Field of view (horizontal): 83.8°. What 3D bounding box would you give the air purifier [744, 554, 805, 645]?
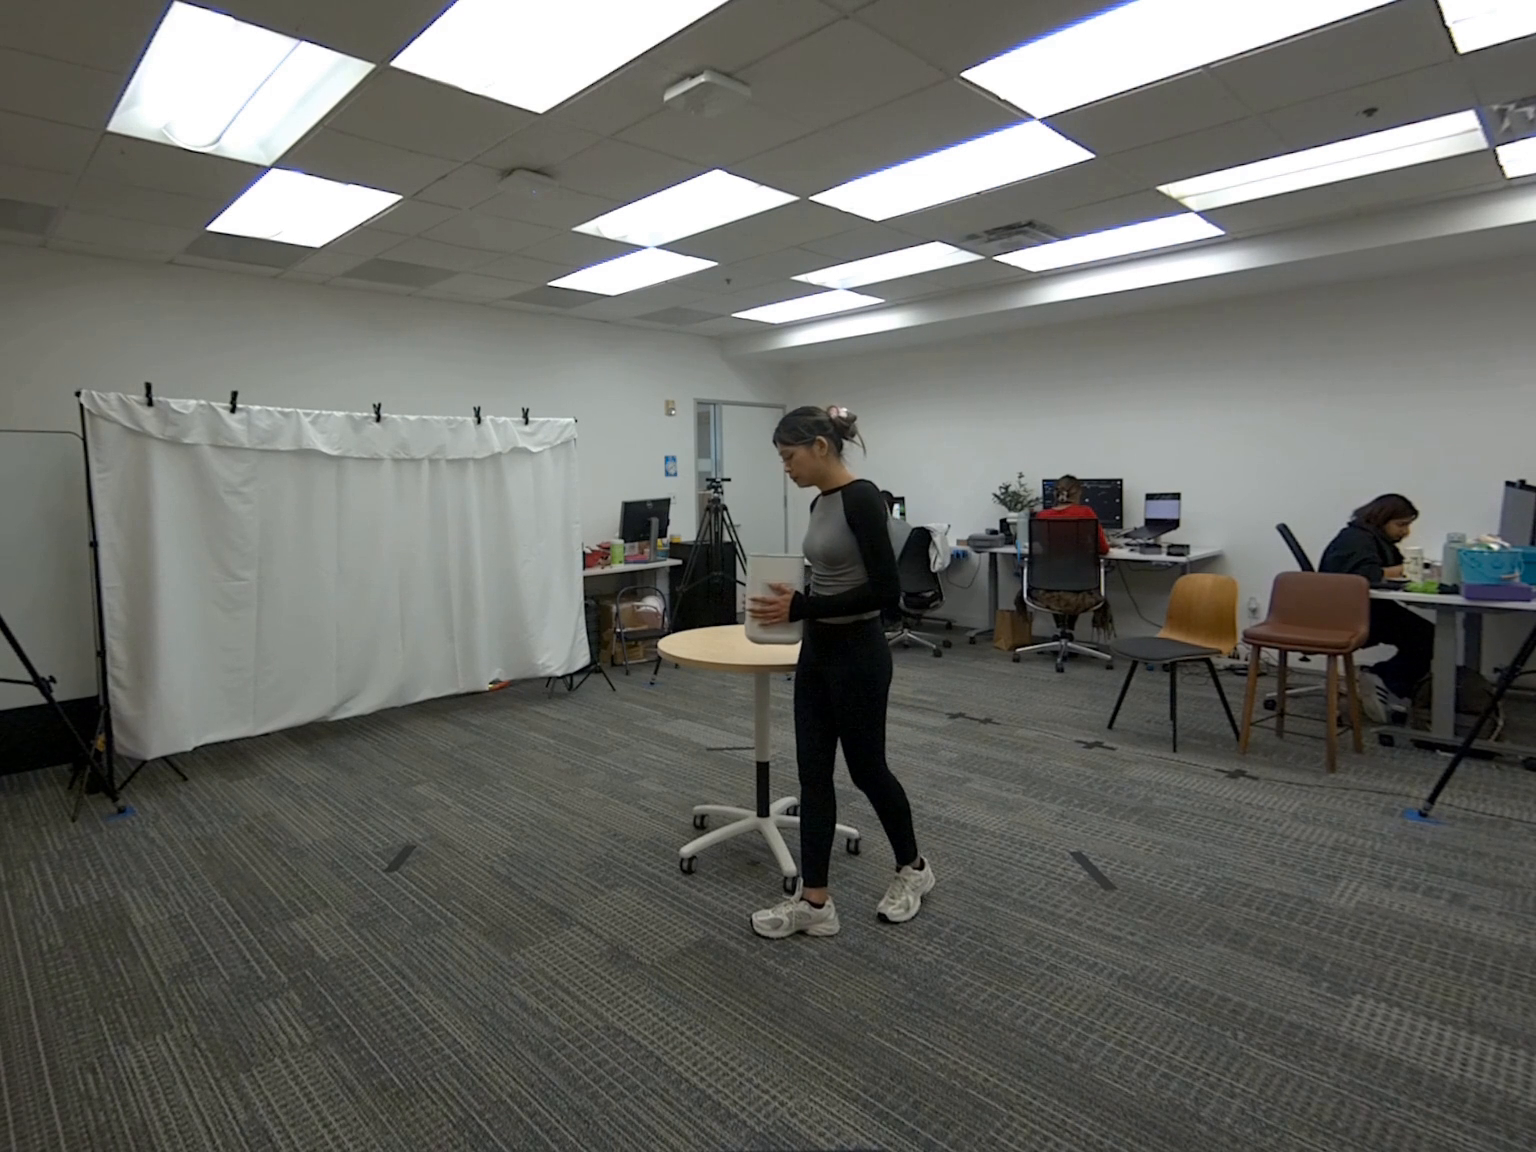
[{"bbox_3d":[0.029,0.067,2.576,0.172,0.265,0.171,2,3,0],"label":"air purifier"}]
